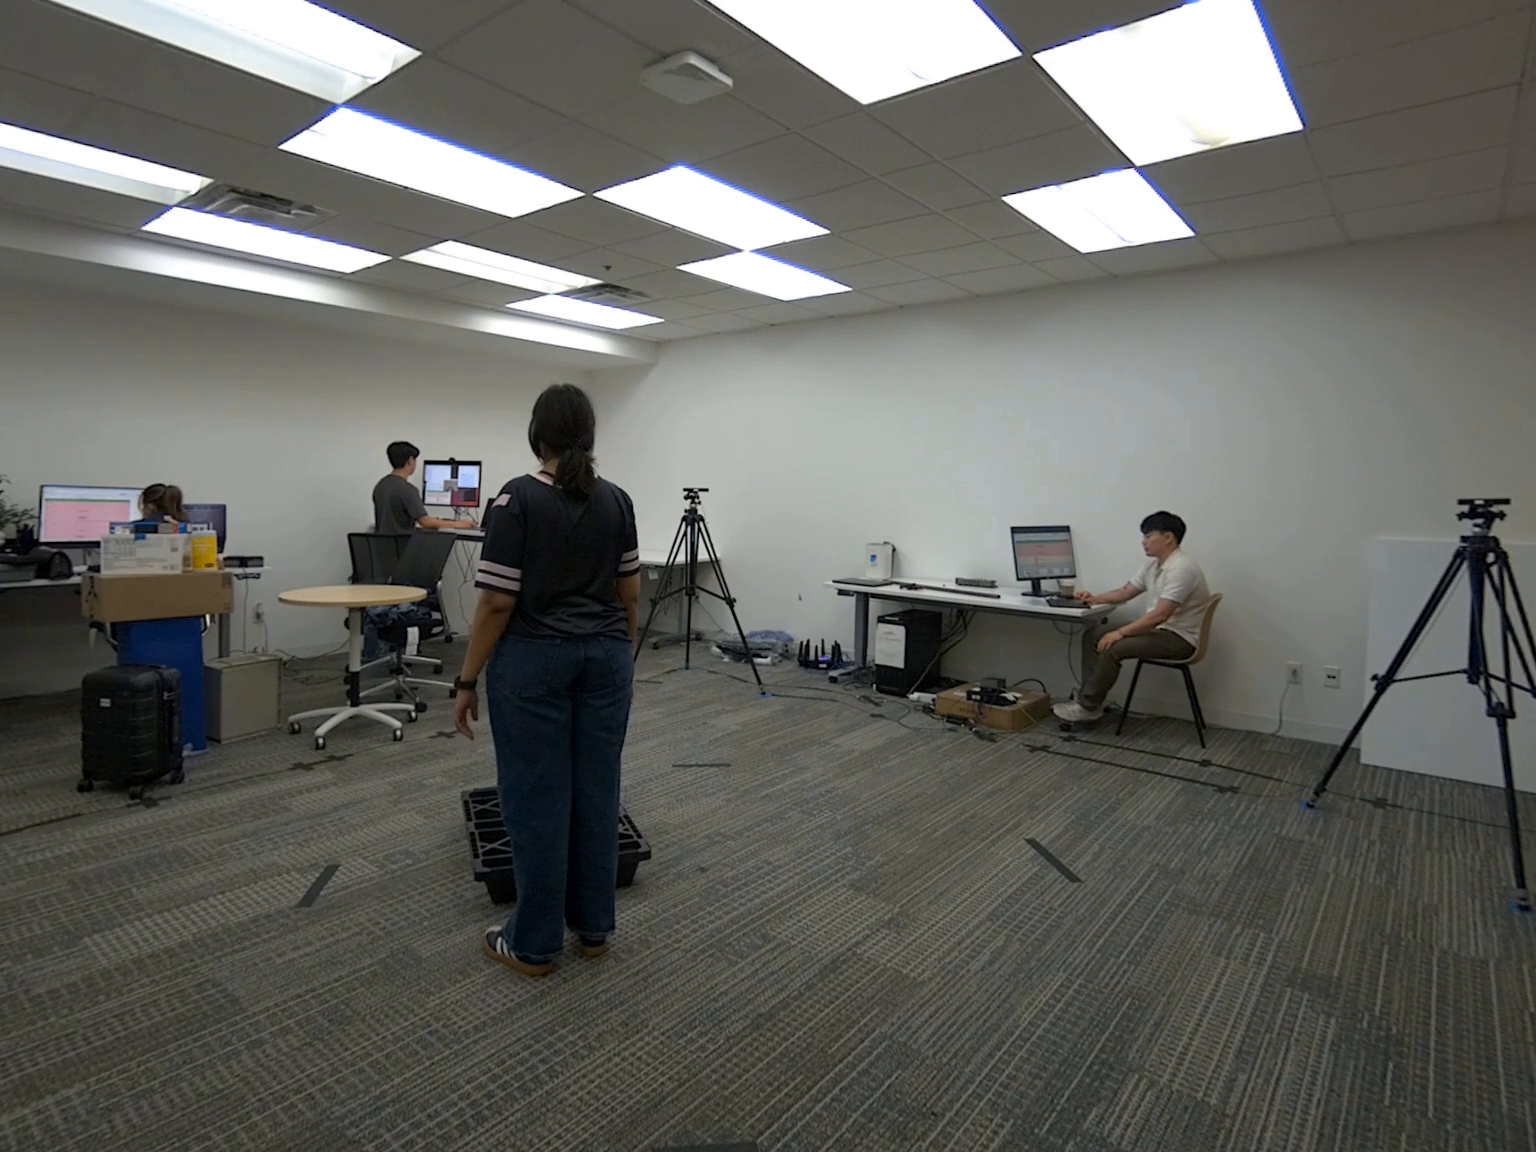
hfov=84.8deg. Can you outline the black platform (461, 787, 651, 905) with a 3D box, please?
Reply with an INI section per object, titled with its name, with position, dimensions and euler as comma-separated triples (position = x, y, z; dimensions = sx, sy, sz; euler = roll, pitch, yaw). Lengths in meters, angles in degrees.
[black platform]
position = -0.845, 0.978, 3.219
dimensions = 0.593, 0.143, 0.825
euler = -2, 6, -21
